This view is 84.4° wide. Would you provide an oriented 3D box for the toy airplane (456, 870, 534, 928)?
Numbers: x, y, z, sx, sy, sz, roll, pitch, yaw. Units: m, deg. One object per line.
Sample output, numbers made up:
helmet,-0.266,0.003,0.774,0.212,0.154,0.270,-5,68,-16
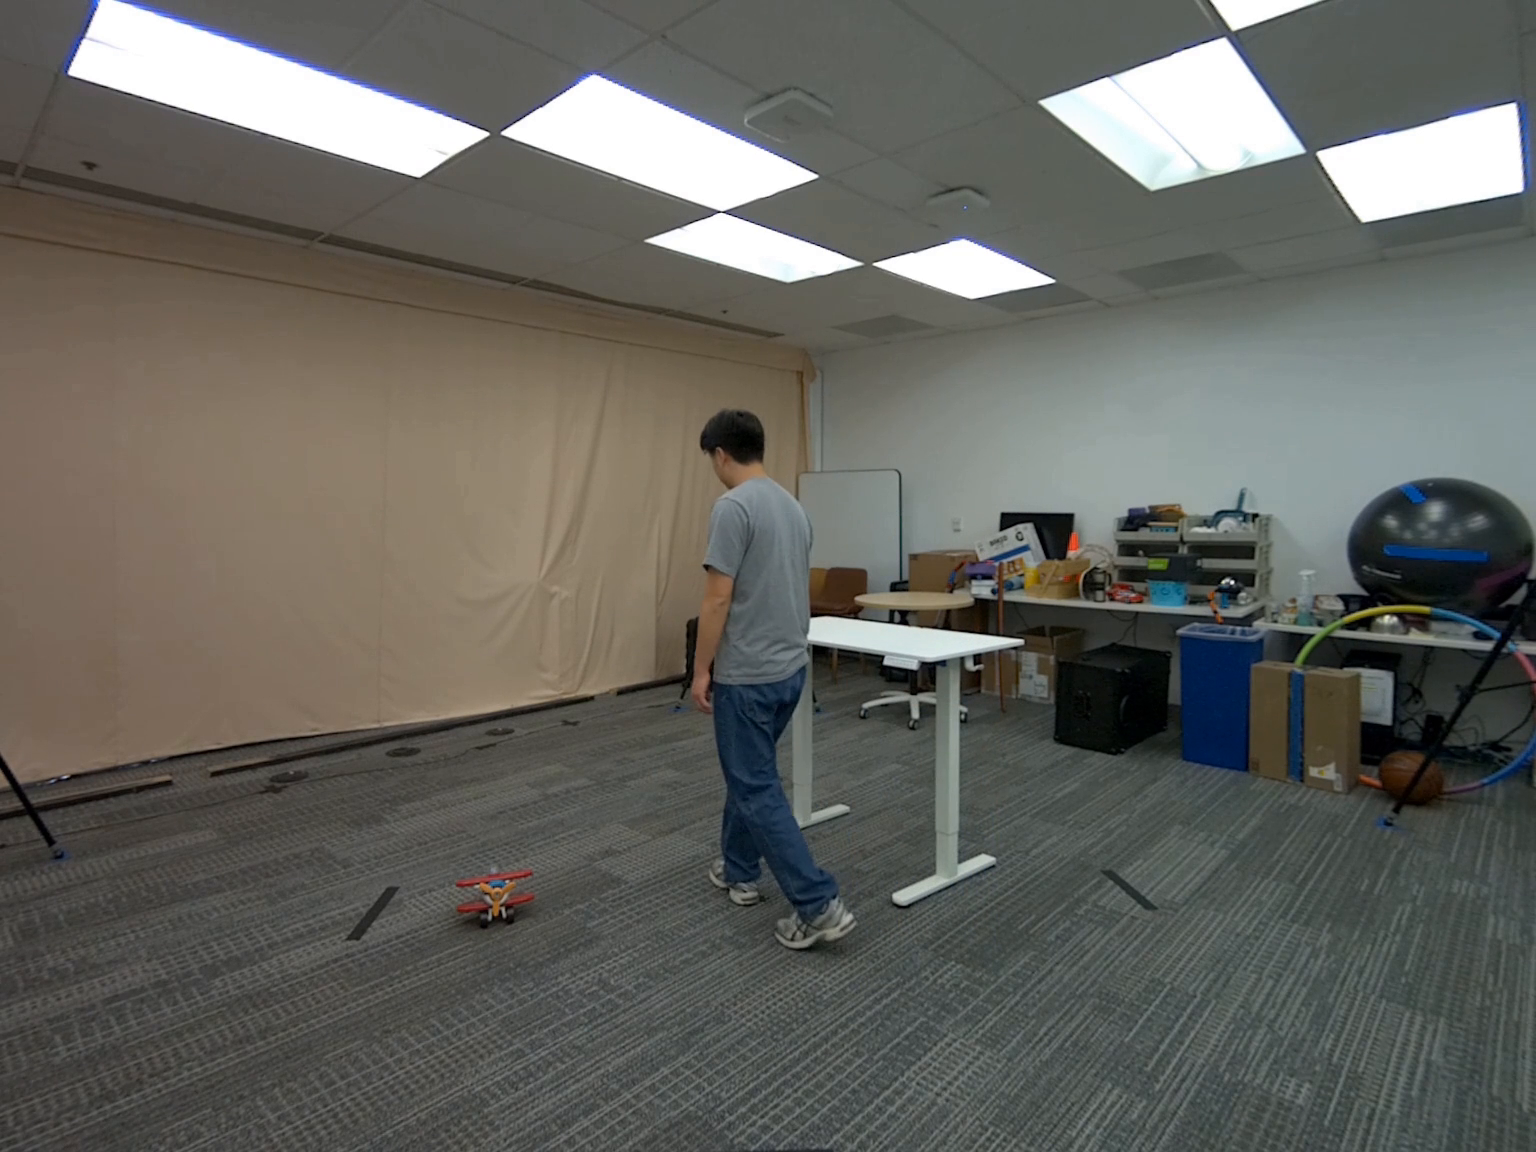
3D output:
toy airplane,-0.962,1.088,2.878,0.268,0.156,0.243,3,6,40
